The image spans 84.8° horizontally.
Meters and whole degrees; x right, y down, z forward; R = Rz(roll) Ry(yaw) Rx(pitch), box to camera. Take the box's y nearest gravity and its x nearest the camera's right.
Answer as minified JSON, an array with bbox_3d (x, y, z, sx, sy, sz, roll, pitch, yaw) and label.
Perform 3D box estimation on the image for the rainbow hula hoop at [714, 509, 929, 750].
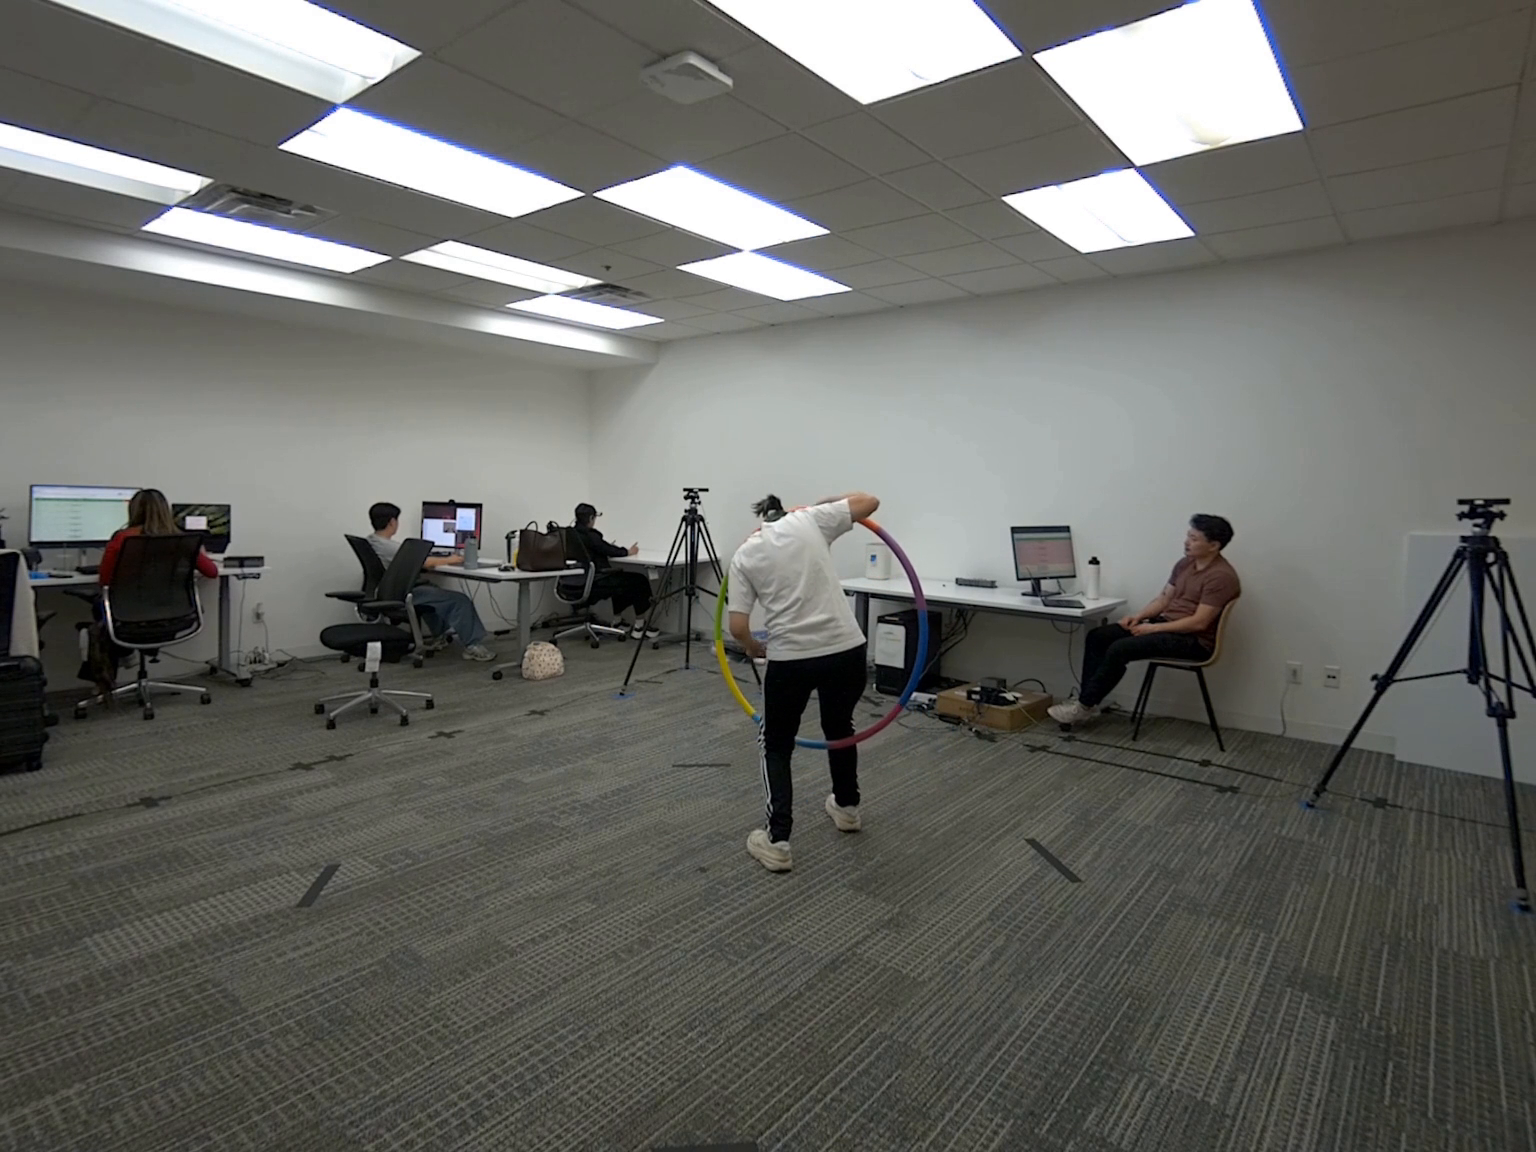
[{"bbox_3d":[0.174,0.204,3.498,1.009,0.980,0.034,3,-2,34],"label":"rainbow hula hoop"}]
